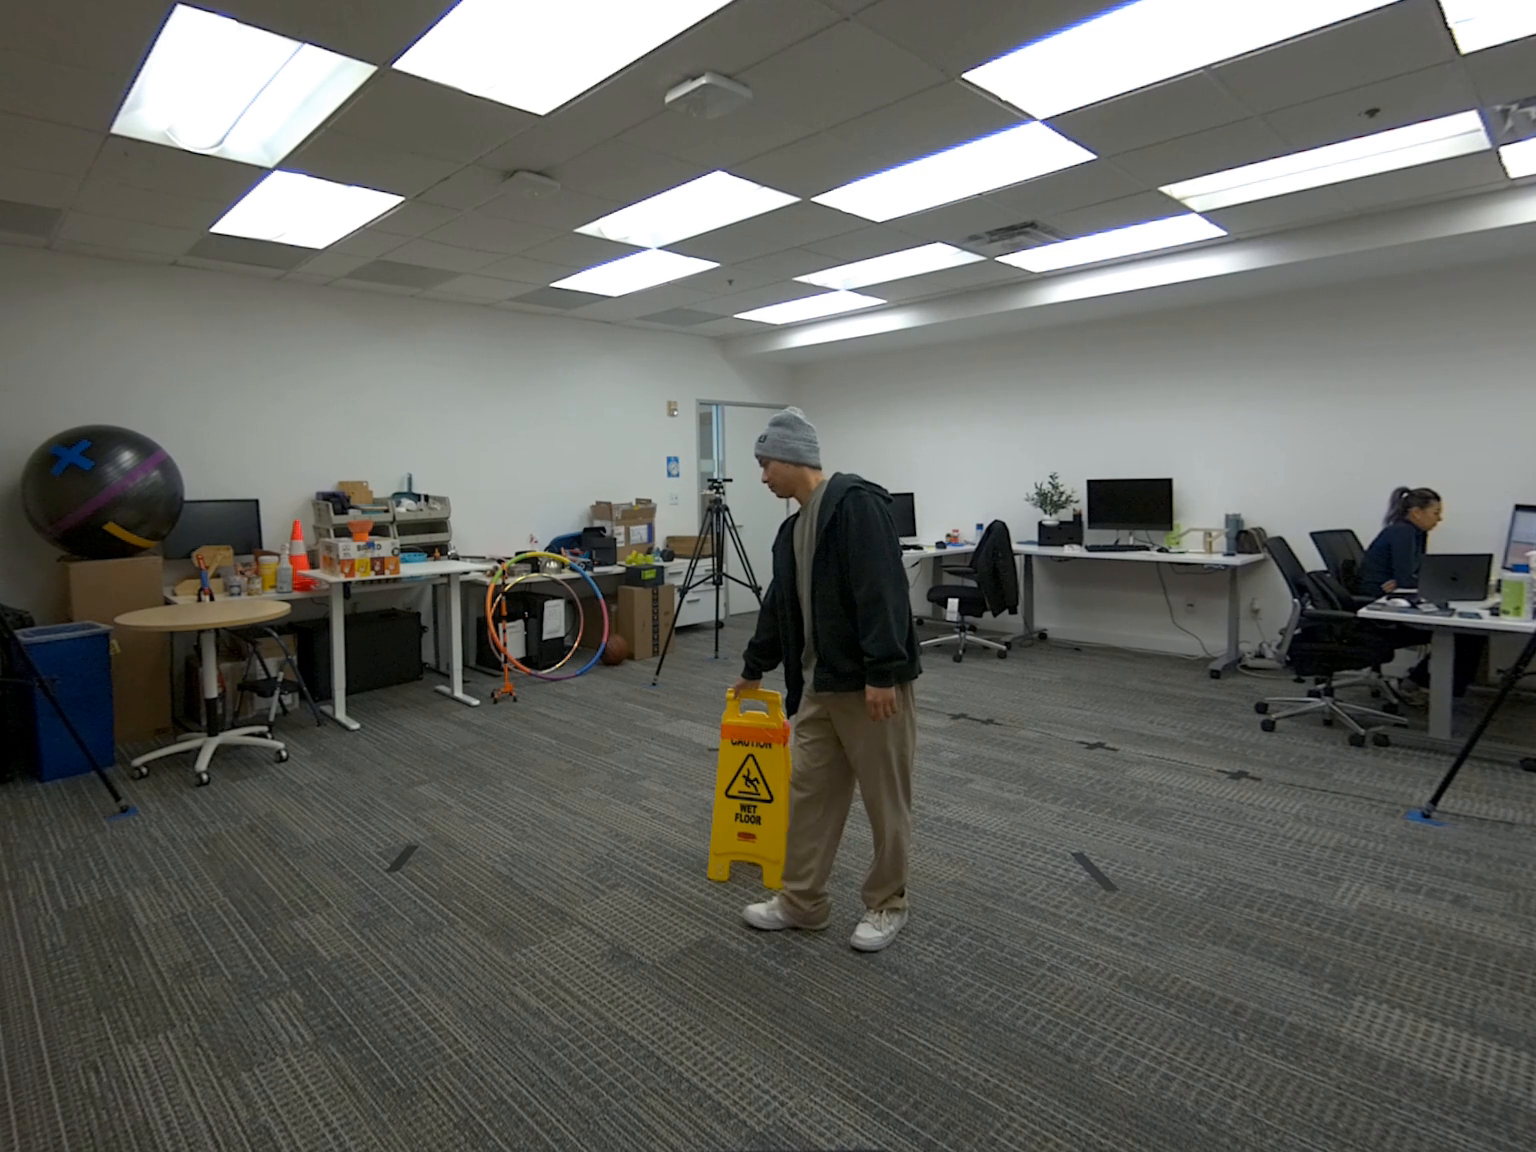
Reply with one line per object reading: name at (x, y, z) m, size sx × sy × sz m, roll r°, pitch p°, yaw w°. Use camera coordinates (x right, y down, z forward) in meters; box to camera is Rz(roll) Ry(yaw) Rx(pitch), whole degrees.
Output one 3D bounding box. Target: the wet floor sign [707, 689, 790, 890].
wet floor sign at (-0.047, 0.726, 3.042) m, size 0.287 × 0.643 × 0.286 m, roll 0°, pitch 5°, yaw 17°
